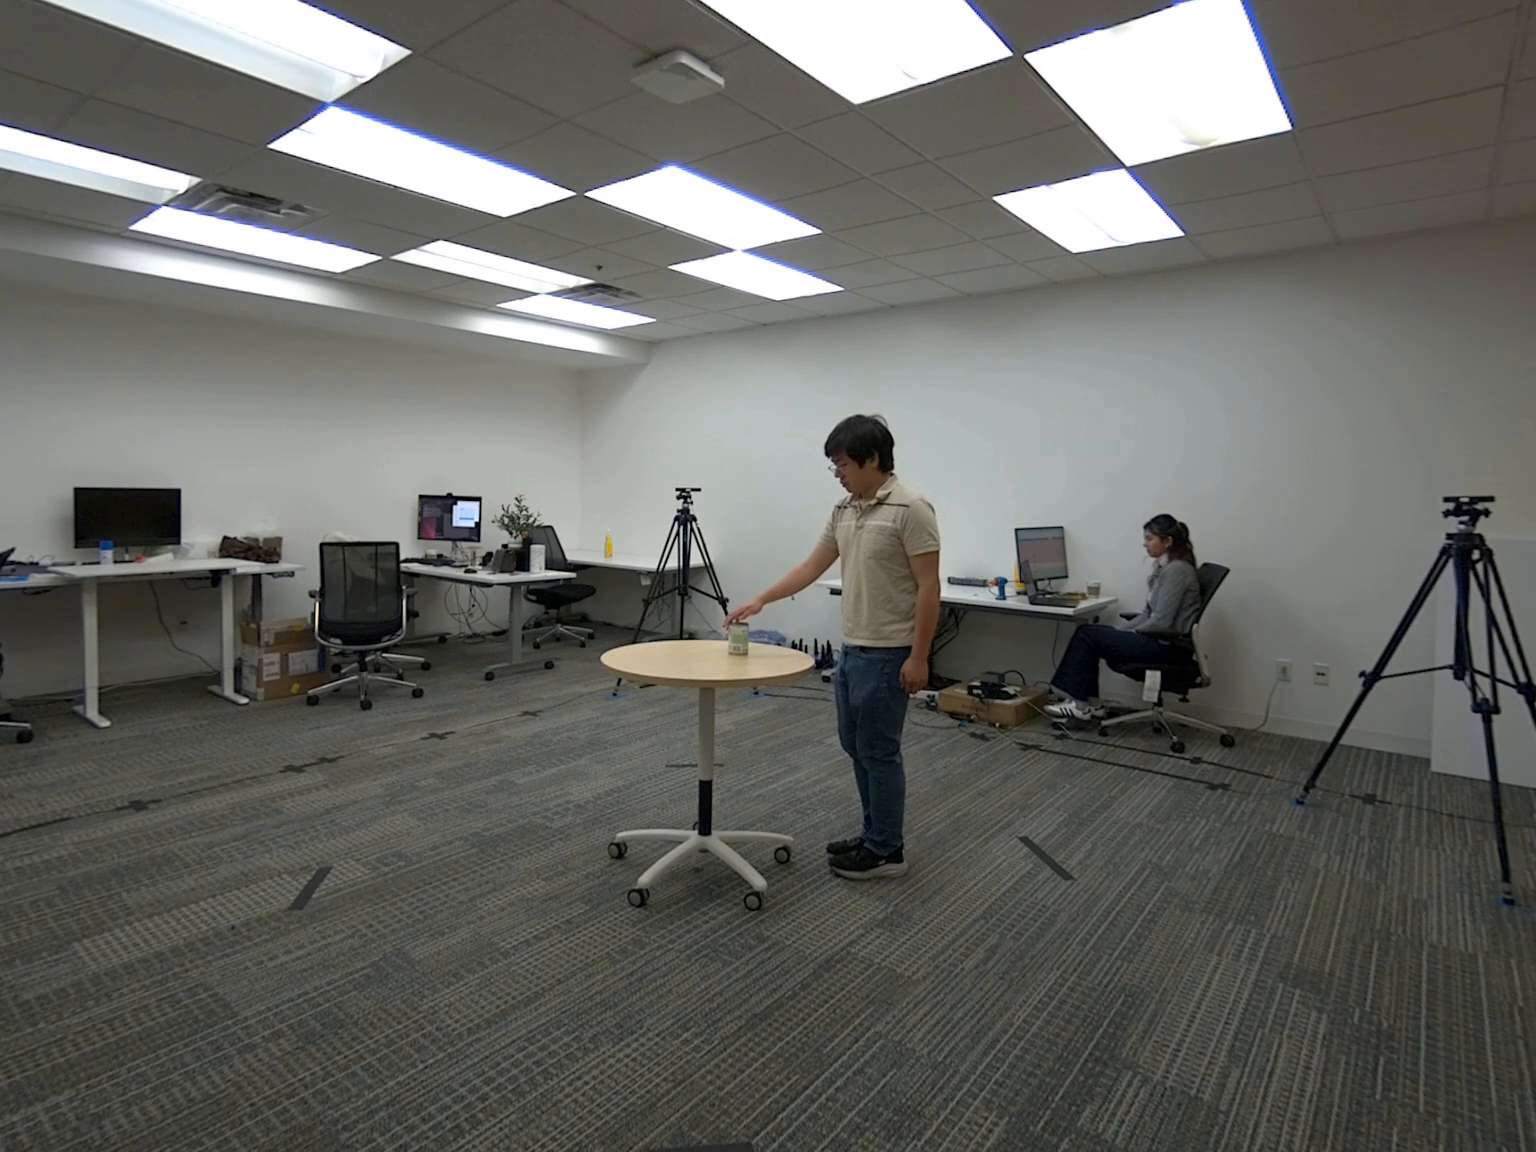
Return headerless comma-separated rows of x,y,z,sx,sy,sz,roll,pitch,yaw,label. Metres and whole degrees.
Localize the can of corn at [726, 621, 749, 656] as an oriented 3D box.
-0.127,0.230,3.150,0.074,0.111,0.074,4,2,-2,can of corn
